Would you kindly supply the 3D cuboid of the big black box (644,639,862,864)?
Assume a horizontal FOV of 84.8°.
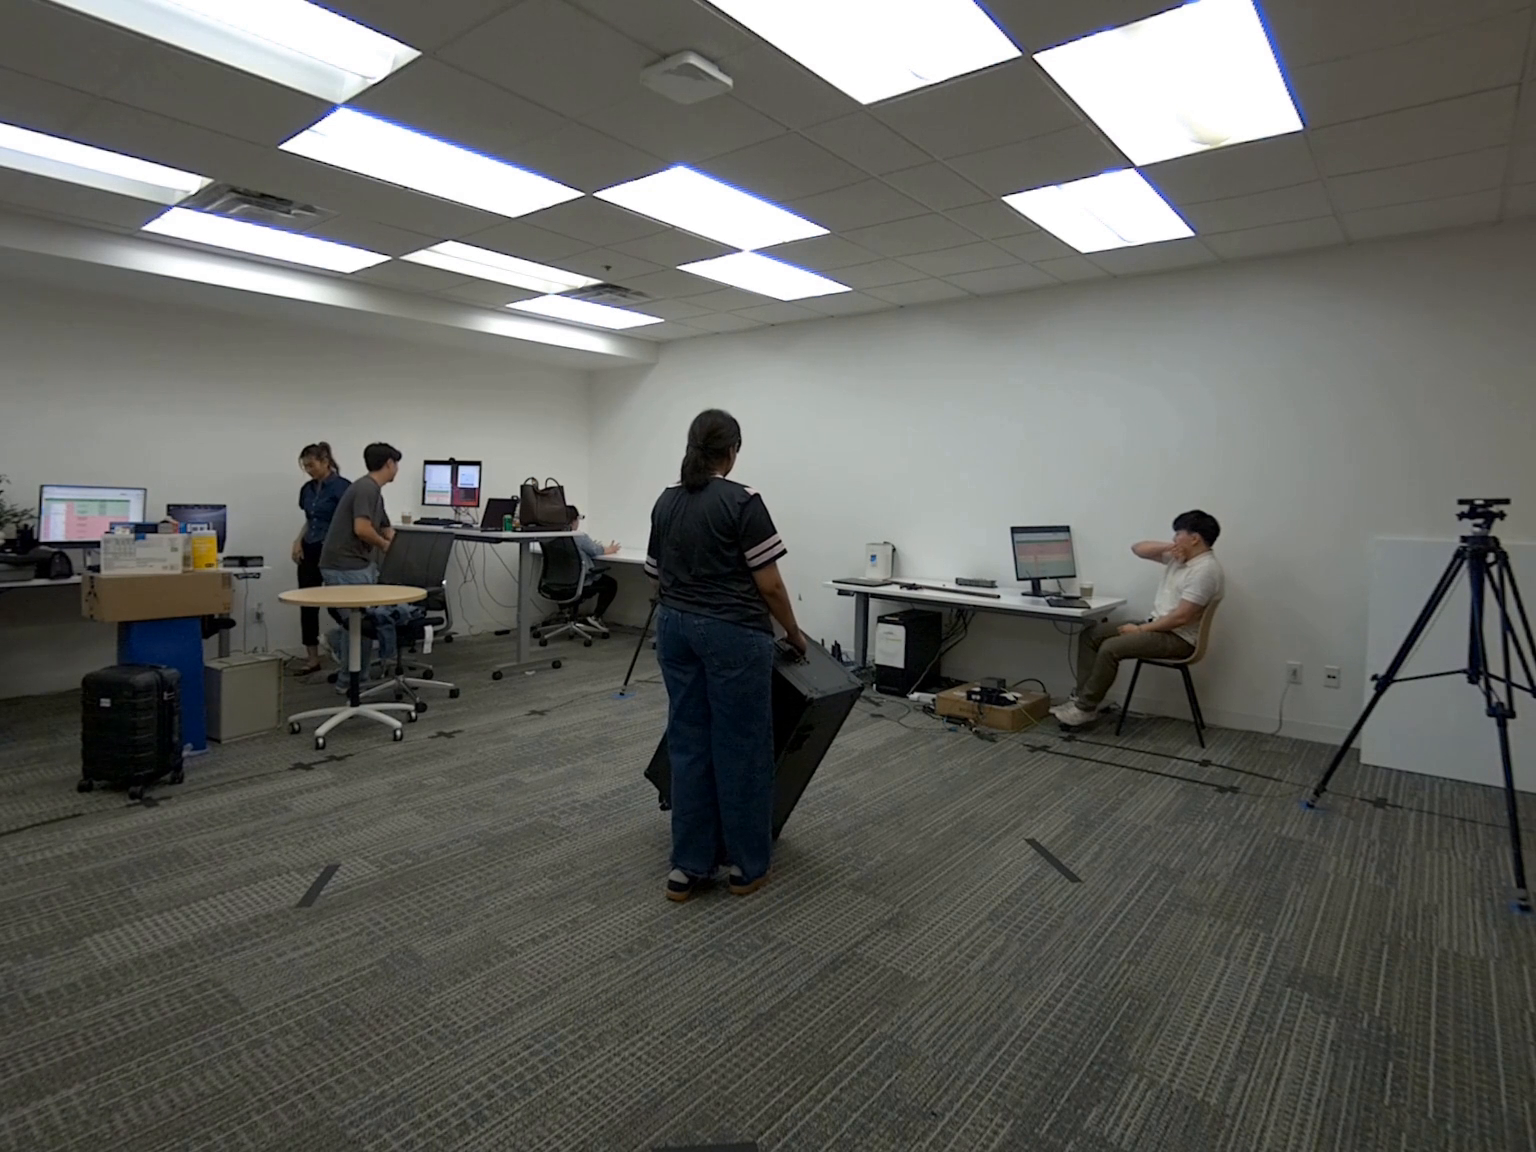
[{"bbox_3d":[-0.098,0.624,3.298,0.543,0.861,0.374,39,24,30],"label":"big black box"}]
